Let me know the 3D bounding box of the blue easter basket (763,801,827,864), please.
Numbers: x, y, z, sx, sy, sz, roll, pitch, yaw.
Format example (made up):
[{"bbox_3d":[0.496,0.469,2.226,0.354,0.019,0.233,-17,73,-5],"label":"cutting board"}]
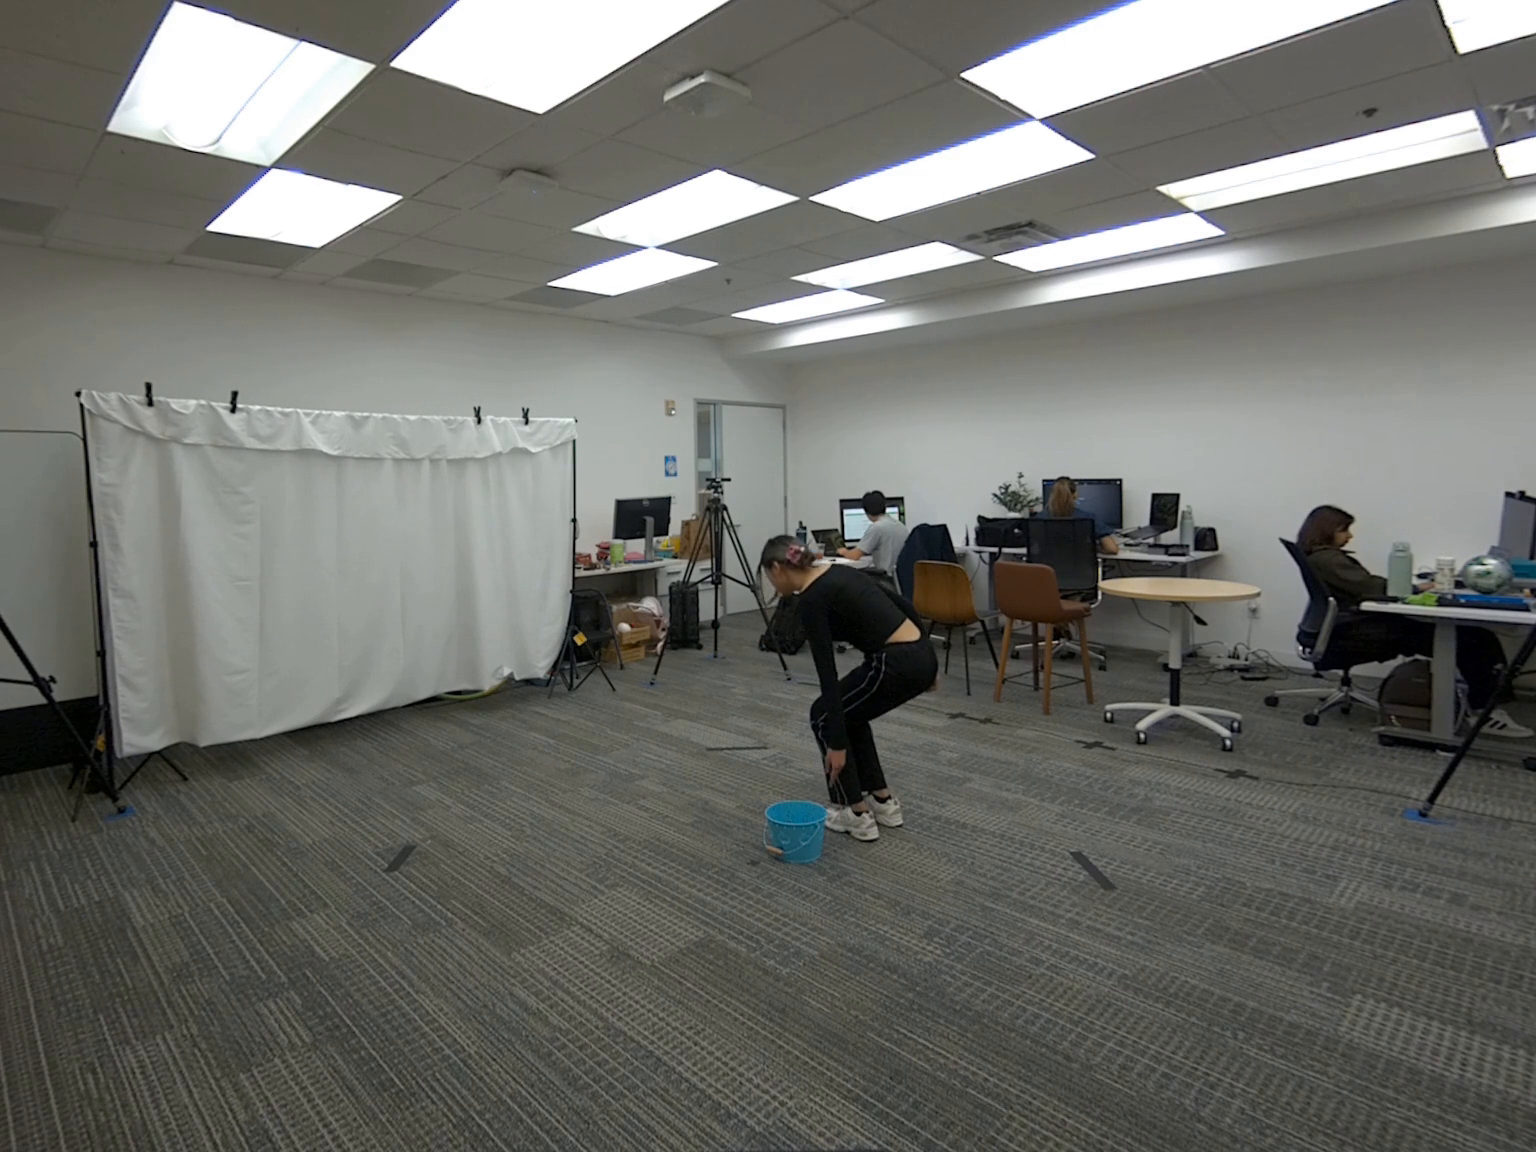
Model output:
[{"bbox_3d":[0.104,0.956,3.185,0.243,0.155,0.245,0,5,-2],"label":"blue easter basket"}]
